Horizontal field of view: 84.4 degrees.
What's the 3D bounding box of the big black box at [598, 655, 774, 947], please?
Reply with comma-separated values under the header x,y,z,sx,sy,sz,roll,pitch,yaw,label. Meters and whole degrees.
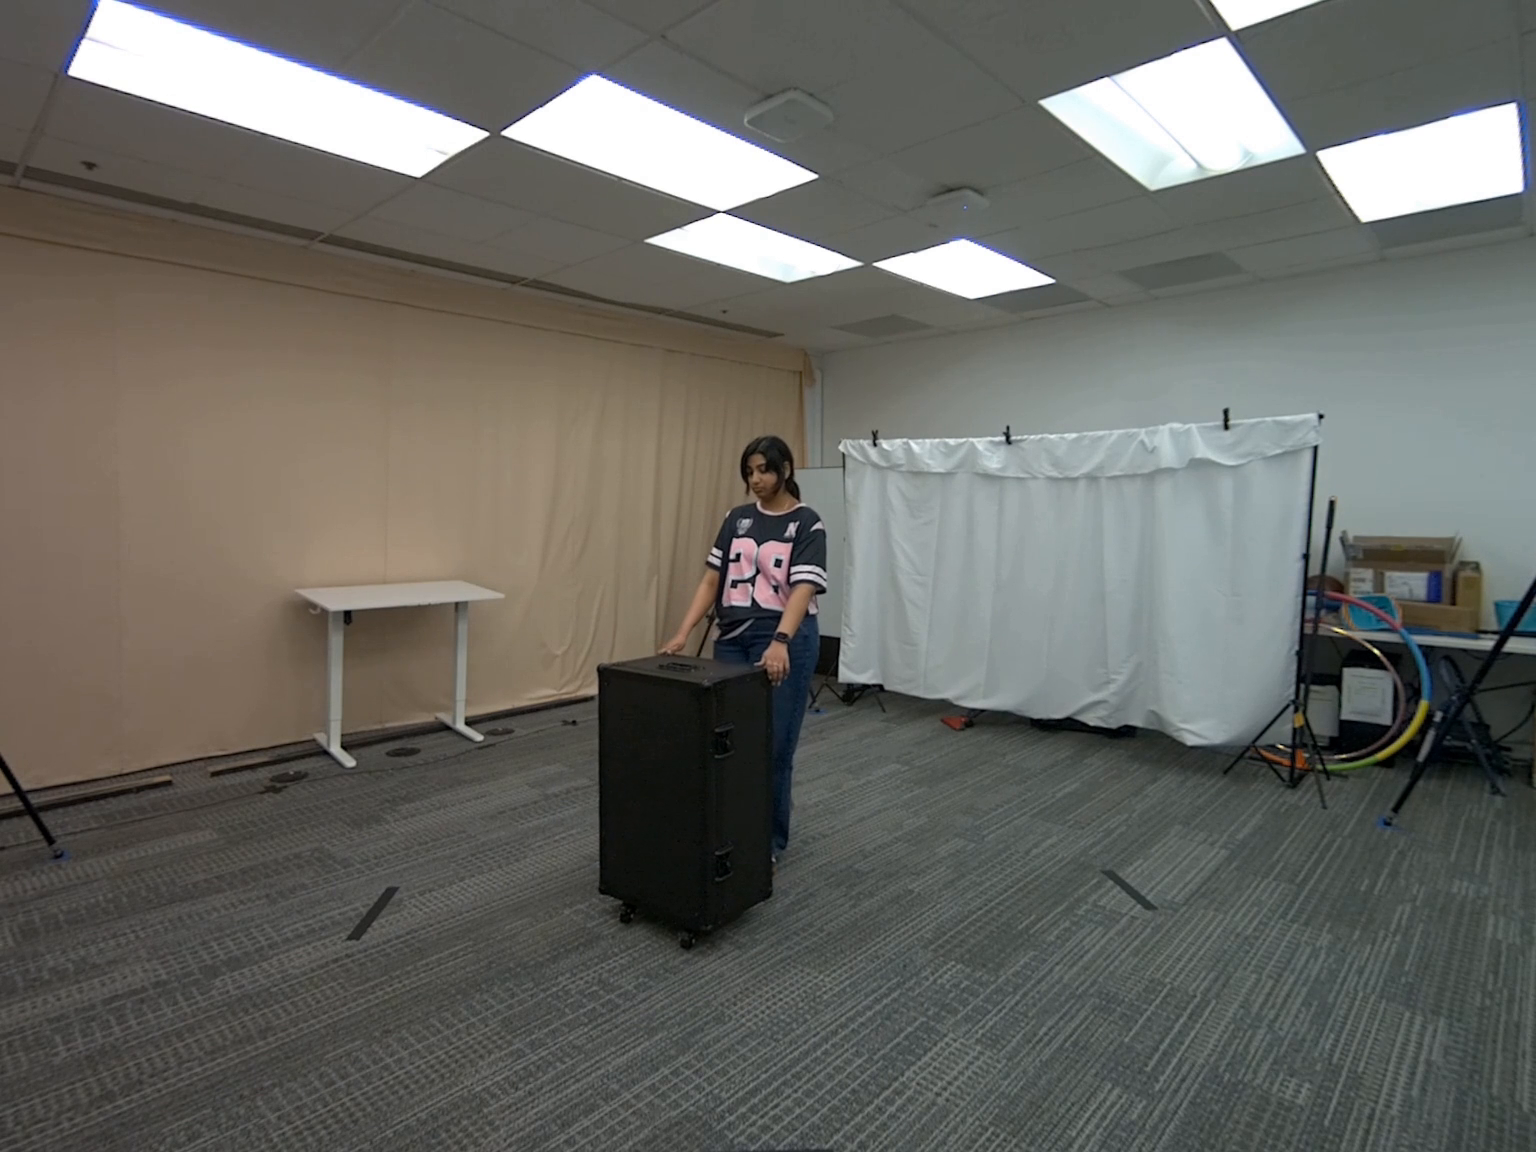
x,y,z,sx,sy,sz,roll,pitch,yaw,label
-0.285,0.734,2.864,0.540,0.867,0.374,3,3,36,big black box
